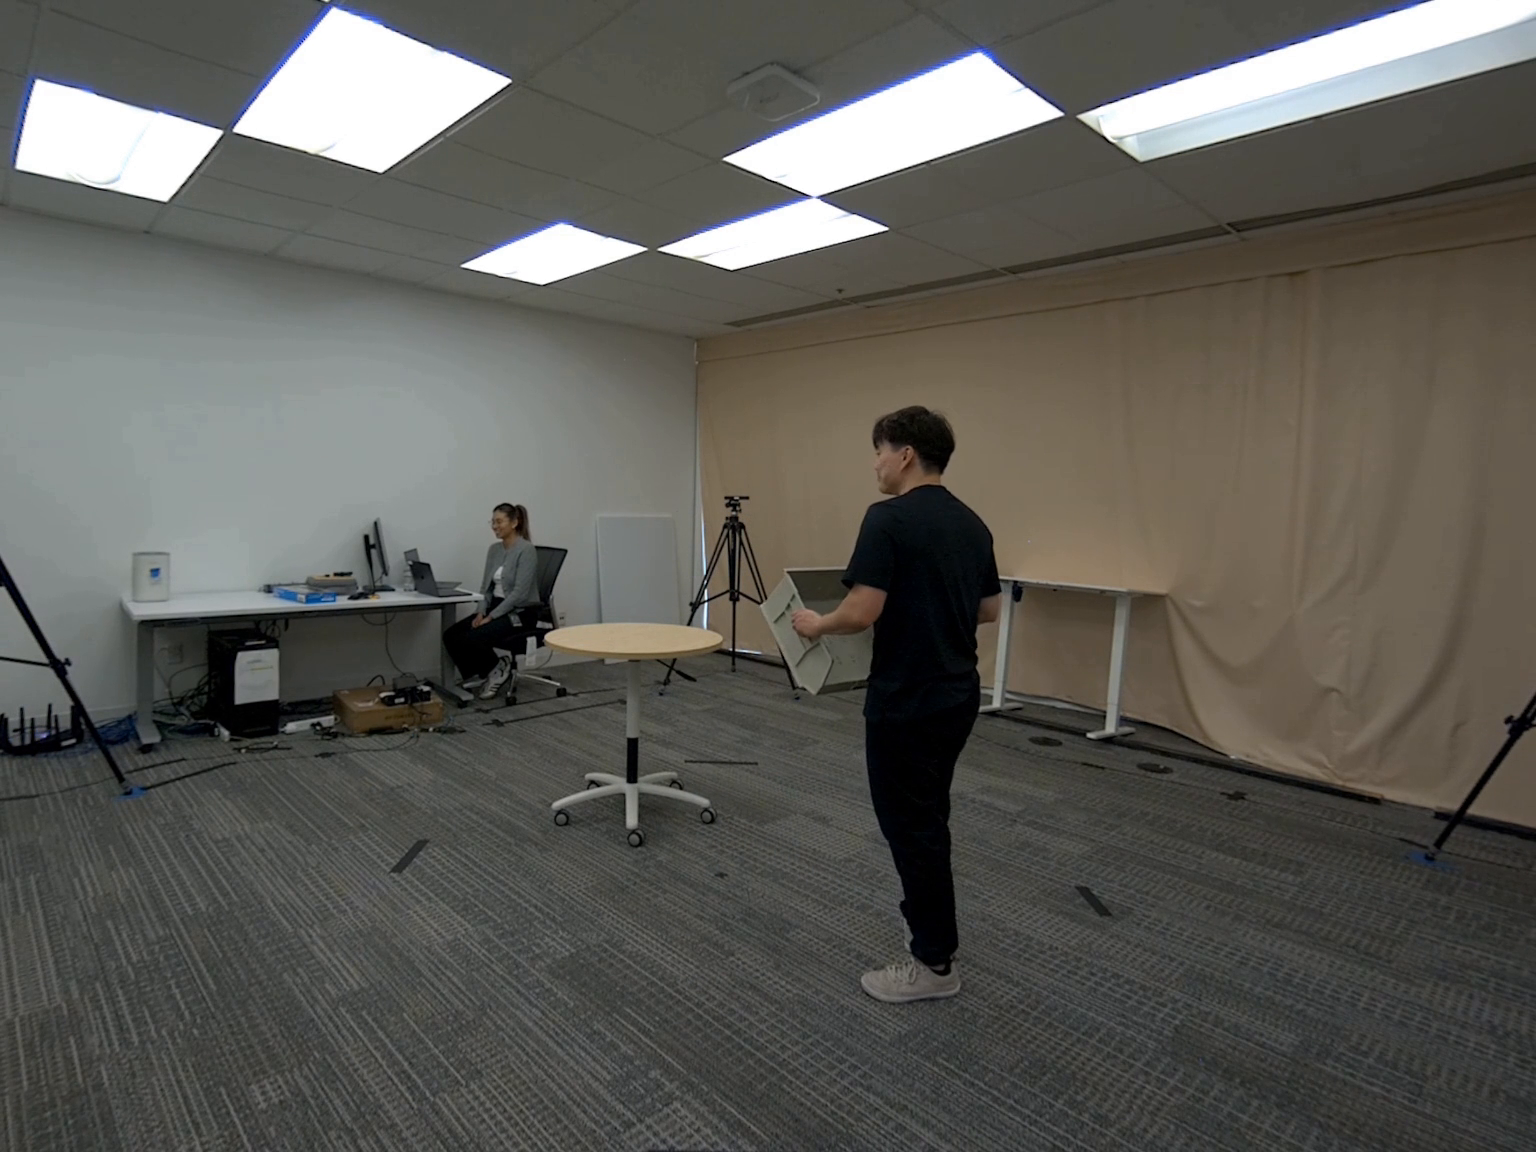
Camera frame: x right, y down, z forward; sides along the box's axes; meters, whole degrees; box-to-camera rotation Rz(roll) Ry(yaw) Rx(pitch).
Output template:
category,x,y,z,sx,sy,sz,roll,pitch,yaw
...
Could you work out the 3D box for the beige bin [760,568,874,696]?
category,x,y,z,sx,sy,sz,roll,pitch,yaw
beige bin,0.243,0.176,2.710,0.413,0.388,0.188,-2,-40,-36
